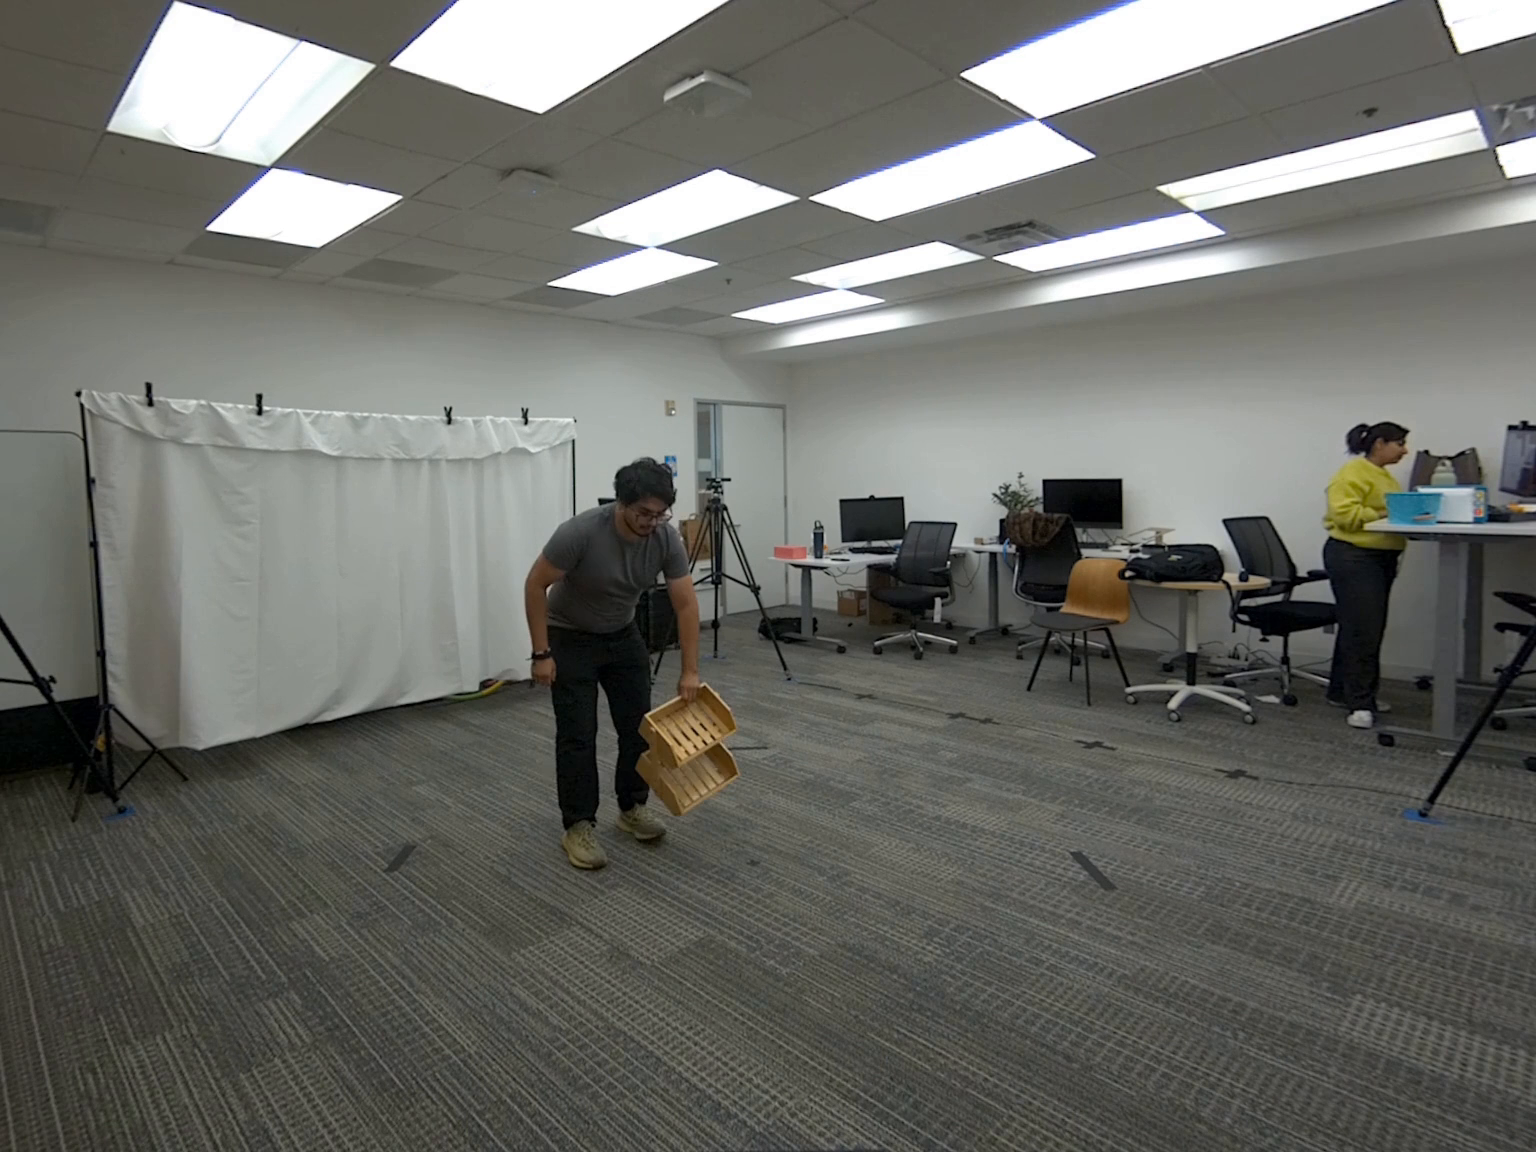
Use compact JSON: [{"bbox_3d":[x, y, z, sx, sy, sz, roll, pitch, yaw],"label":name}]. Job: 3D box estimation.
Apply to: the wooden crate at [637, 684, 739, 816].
[{"bbox_3d":[-0.266,0.621,3.072,0.319,0.269,0.311,-23,56,-43],"label":"wooden crate"}]
